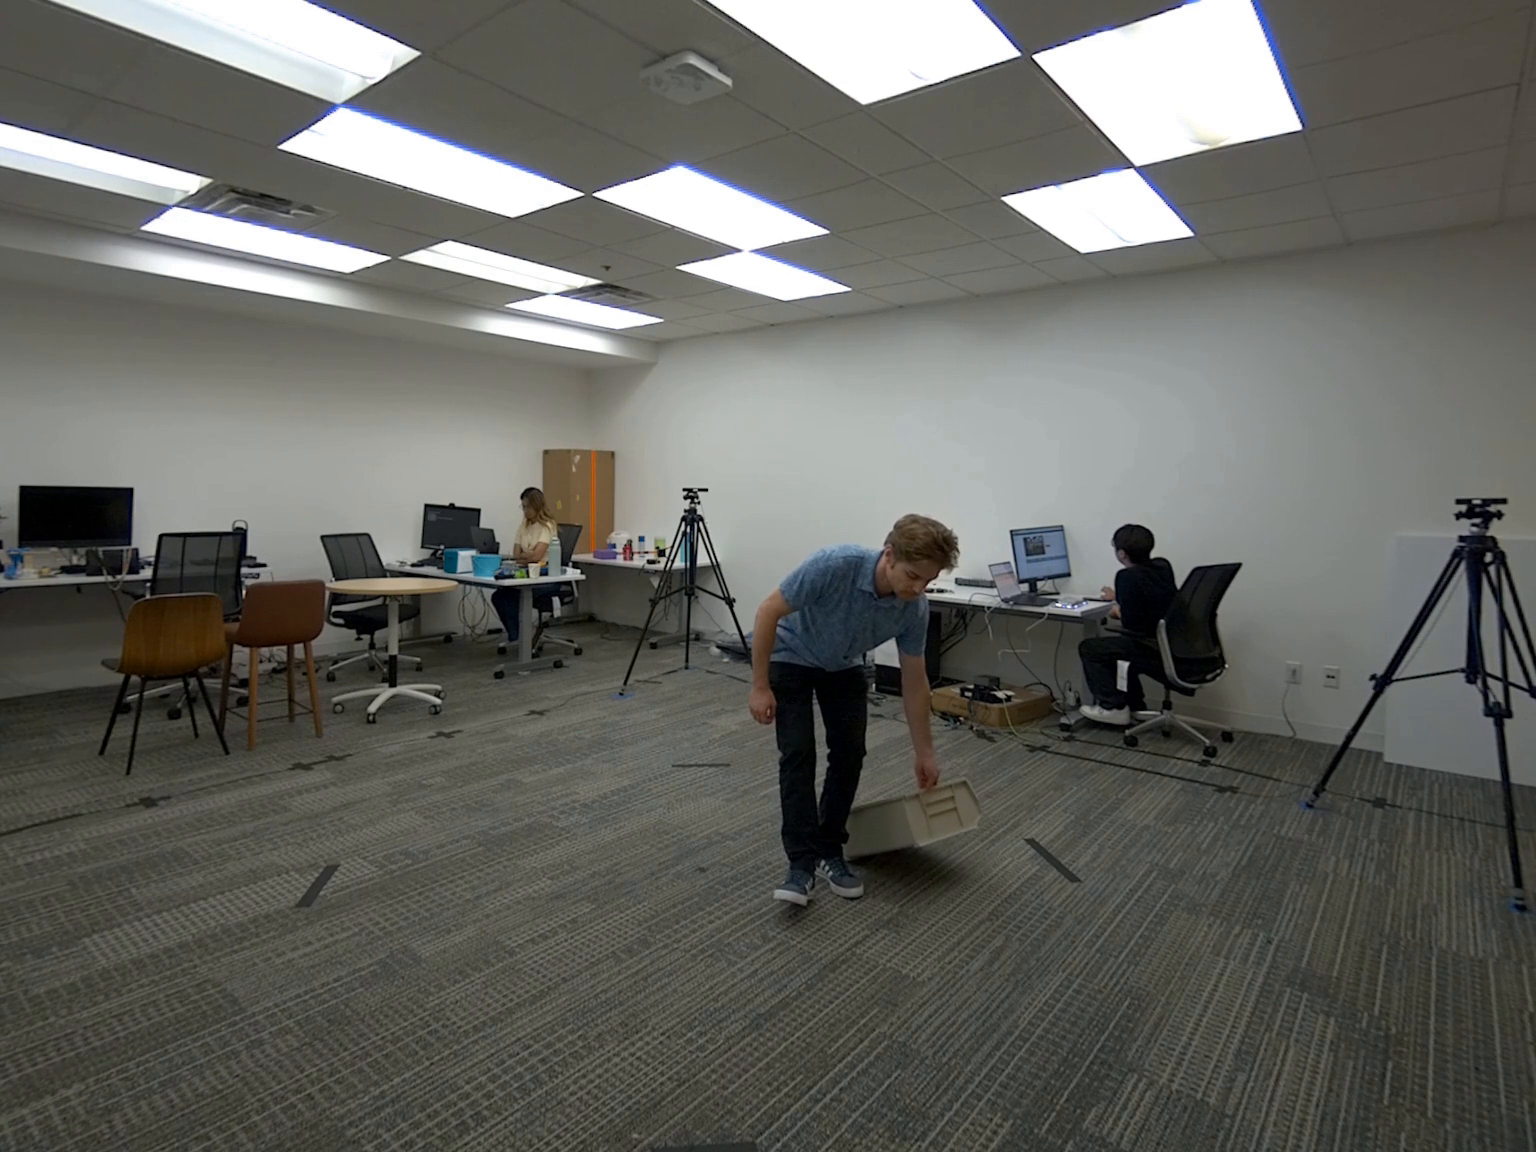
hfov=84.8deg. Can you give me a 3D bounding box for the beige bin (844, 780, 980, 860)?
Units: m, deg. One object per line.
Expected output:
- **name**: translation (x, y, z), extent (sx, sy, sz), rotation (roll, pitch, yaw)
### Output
- **beige bin**: translation (0.508, 0.904, 3.175), extent (0.366, 0.193, 0.426), rotation (-3, -19, -38)
